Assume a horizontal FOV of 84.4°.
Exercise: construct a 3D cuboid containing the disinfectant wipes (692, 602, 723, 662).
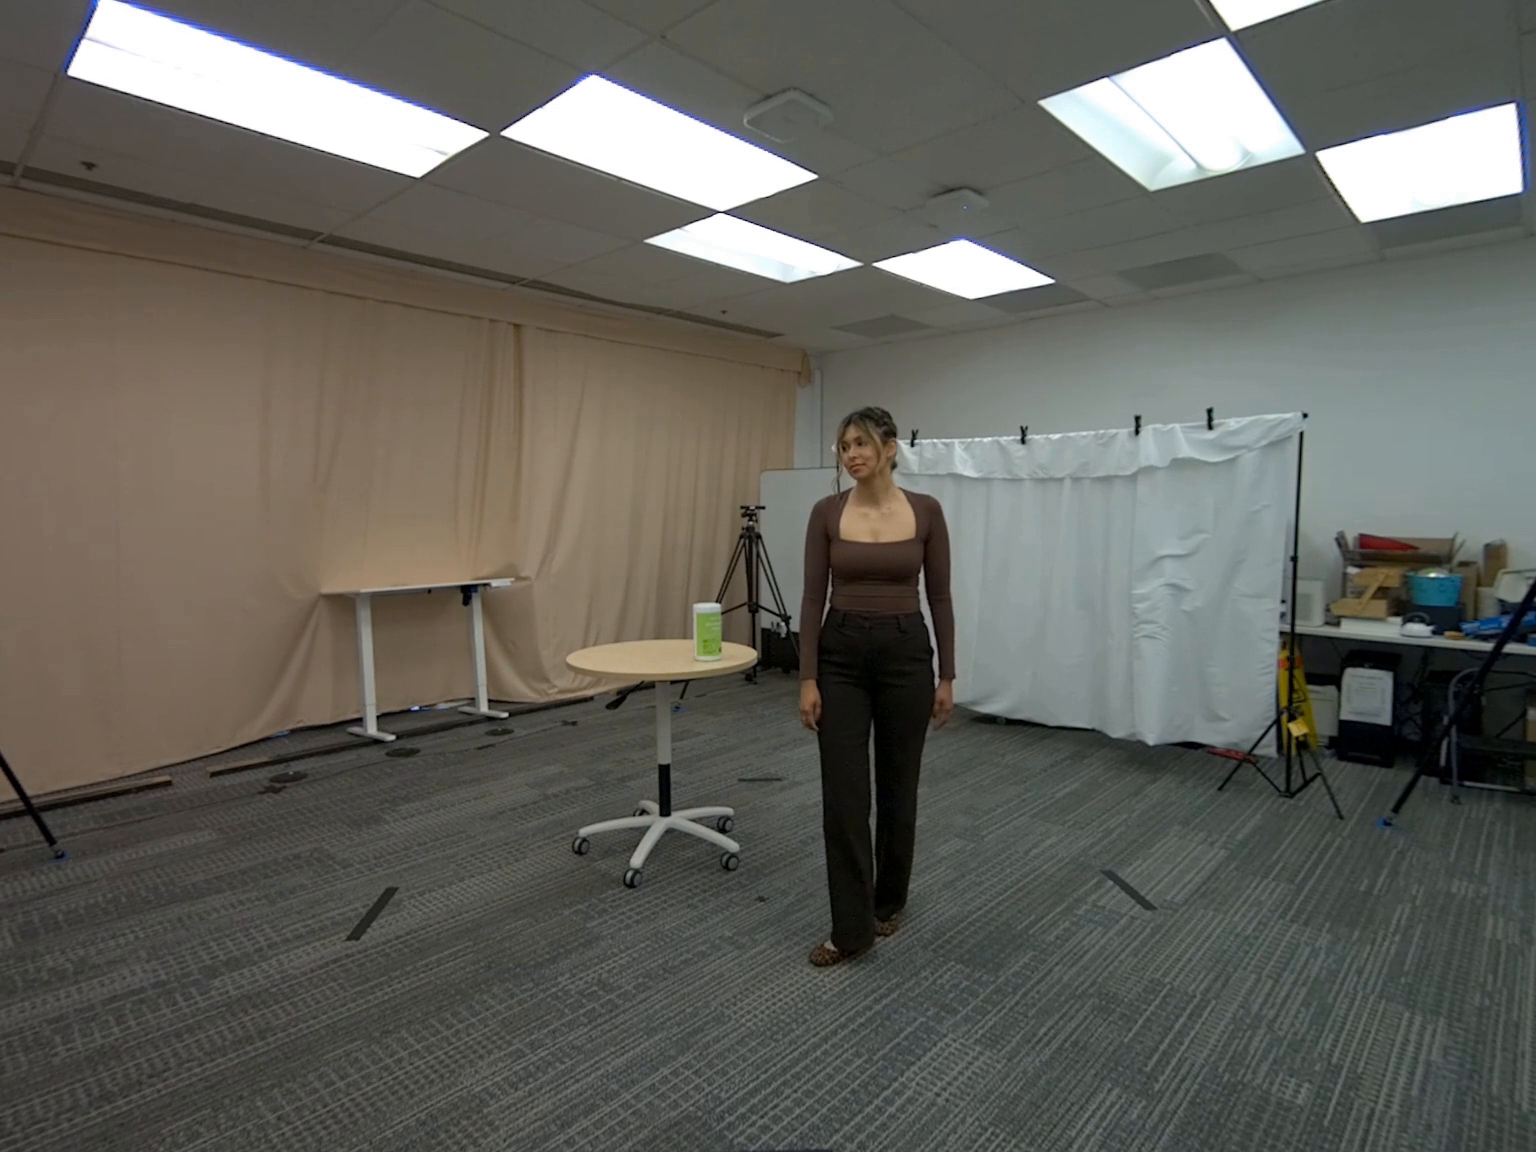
[{"bbox_3d":[-0.235,0.218,3.266,0.118,0.217,0.118,0,4,-2],"label":"disinfectant wipes"}]
